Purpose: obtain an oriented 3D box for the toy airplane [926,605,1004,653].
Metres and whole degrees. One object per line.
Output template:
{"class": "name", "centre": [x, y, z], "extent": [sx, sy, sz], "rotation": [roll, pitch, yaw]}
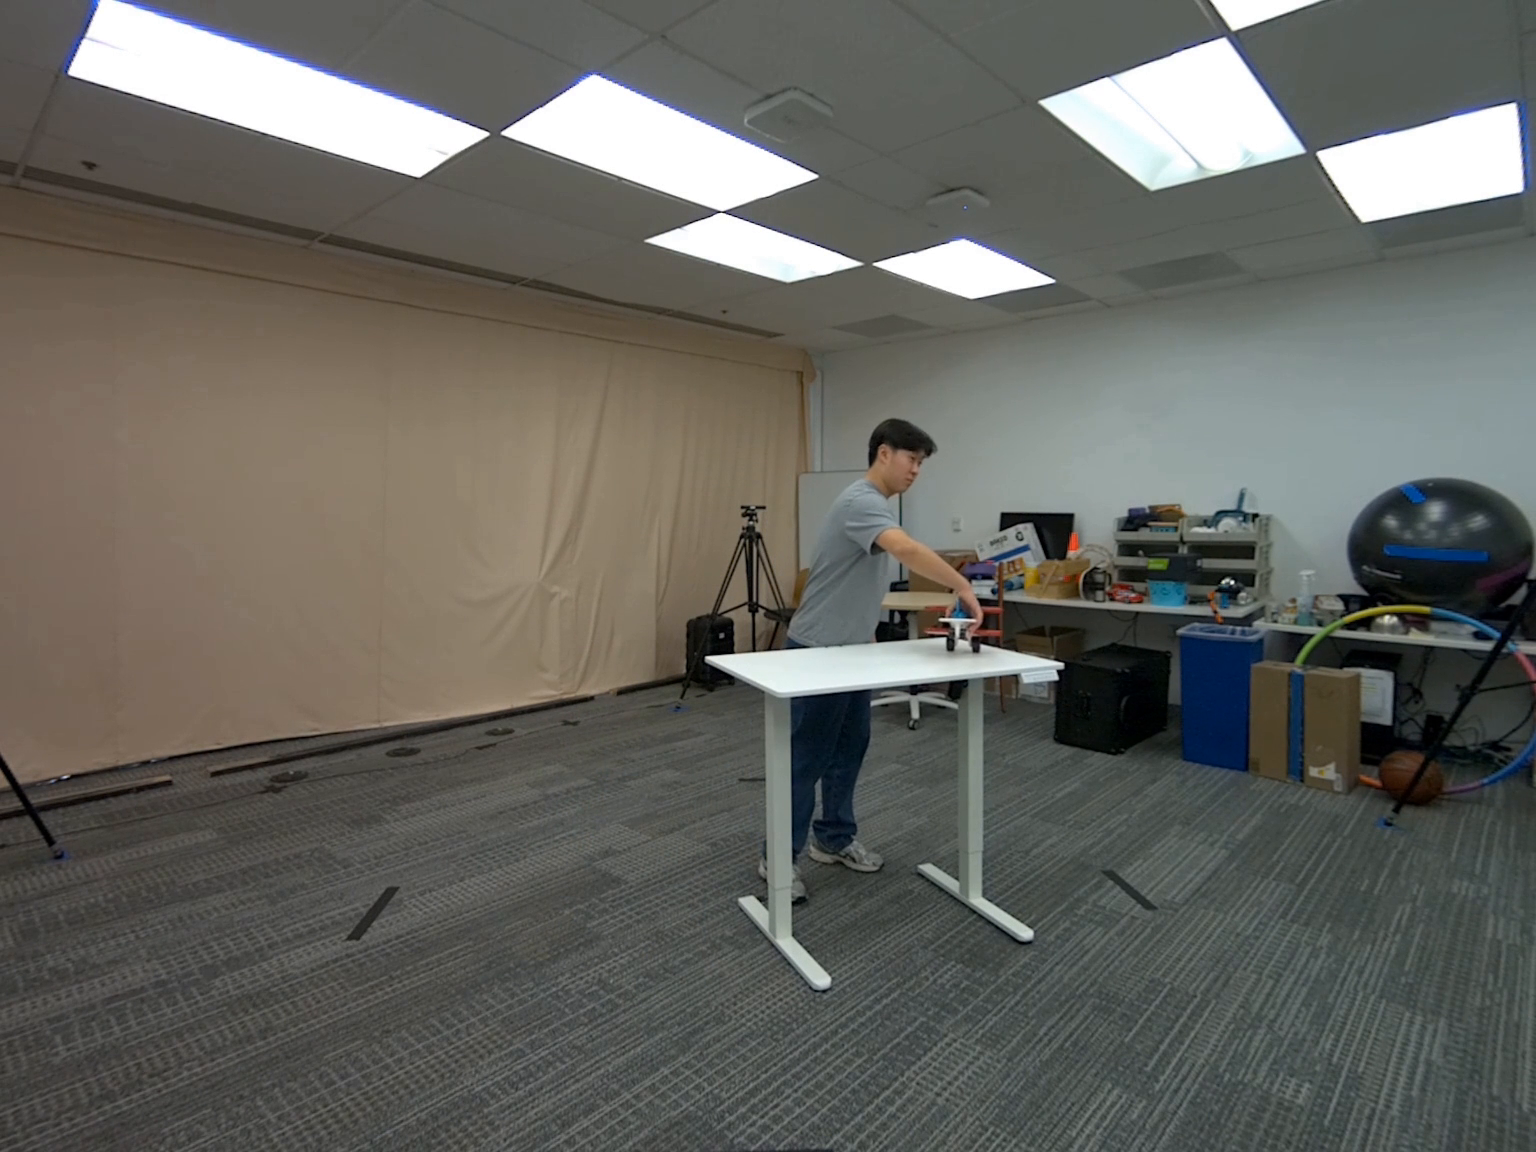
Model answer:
{"class": "toy airplane", "centre": [0.680, 0.163, 2.847], "extent": [0.249, 0.158, 0.258], "rotation": [10, -19, -6]}
